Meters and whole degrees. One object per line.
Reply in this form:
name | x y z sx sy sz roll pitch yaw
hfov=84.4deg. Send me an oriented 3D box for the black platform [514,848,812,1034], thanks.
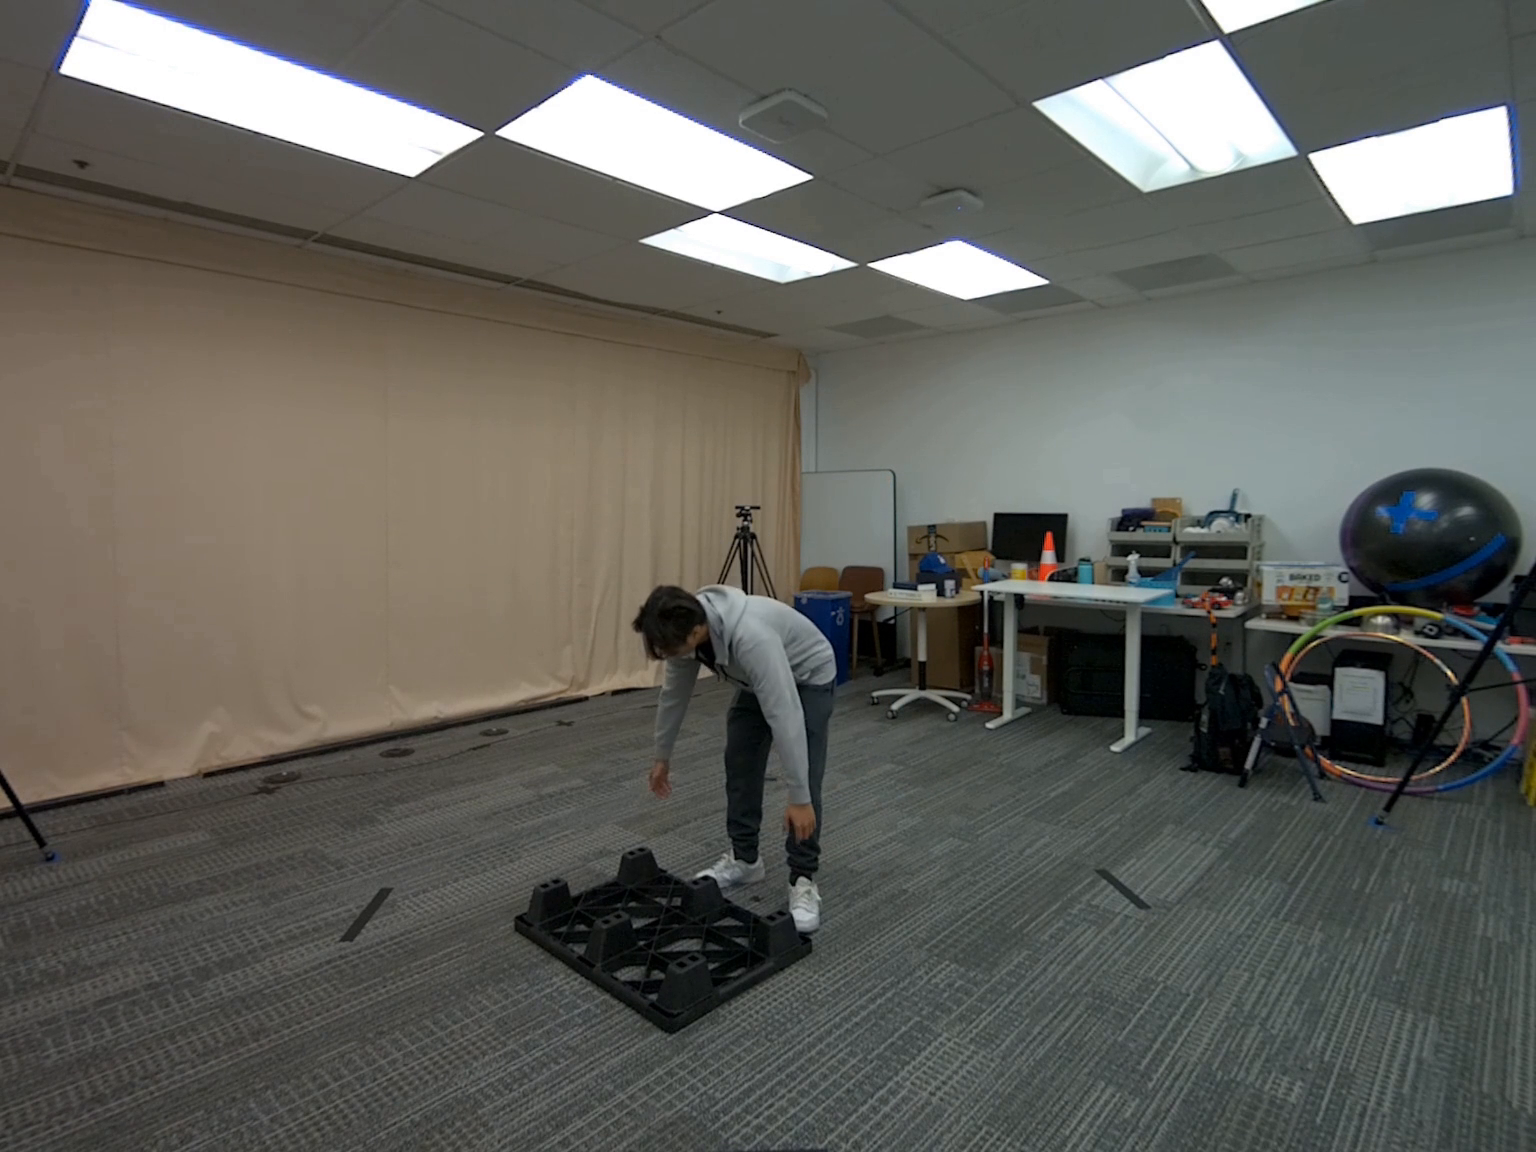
black platform | -0.345 1.106 2.698 0.832 0.143 0.587 4 7 43
